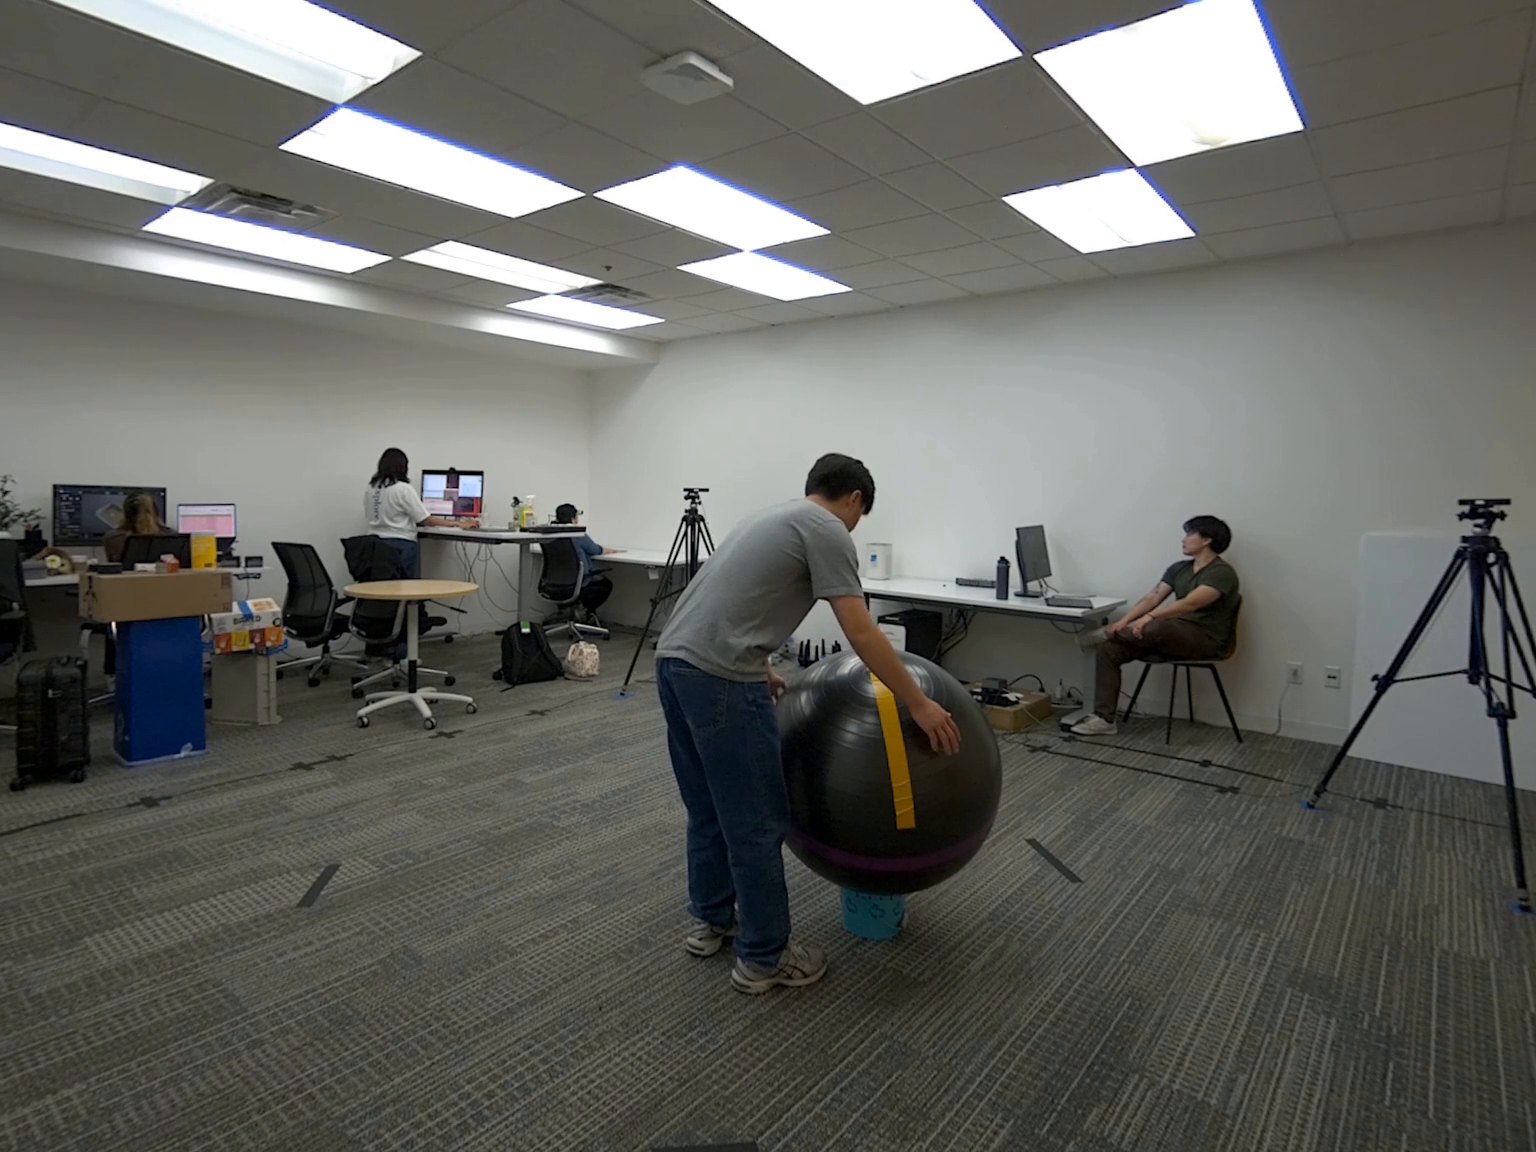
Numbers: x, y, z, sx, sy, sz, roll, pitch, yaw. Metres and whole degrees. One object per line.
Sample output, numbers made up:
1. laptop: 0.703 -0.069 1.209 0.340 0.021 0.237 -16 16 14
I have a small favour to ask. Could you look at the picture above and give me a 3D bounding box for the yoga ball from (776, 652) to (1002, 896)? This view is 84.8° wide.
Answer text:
1. yoga ball: 0.356 0.611 2.717 0.757 0.756 0.761 1 4 -2
